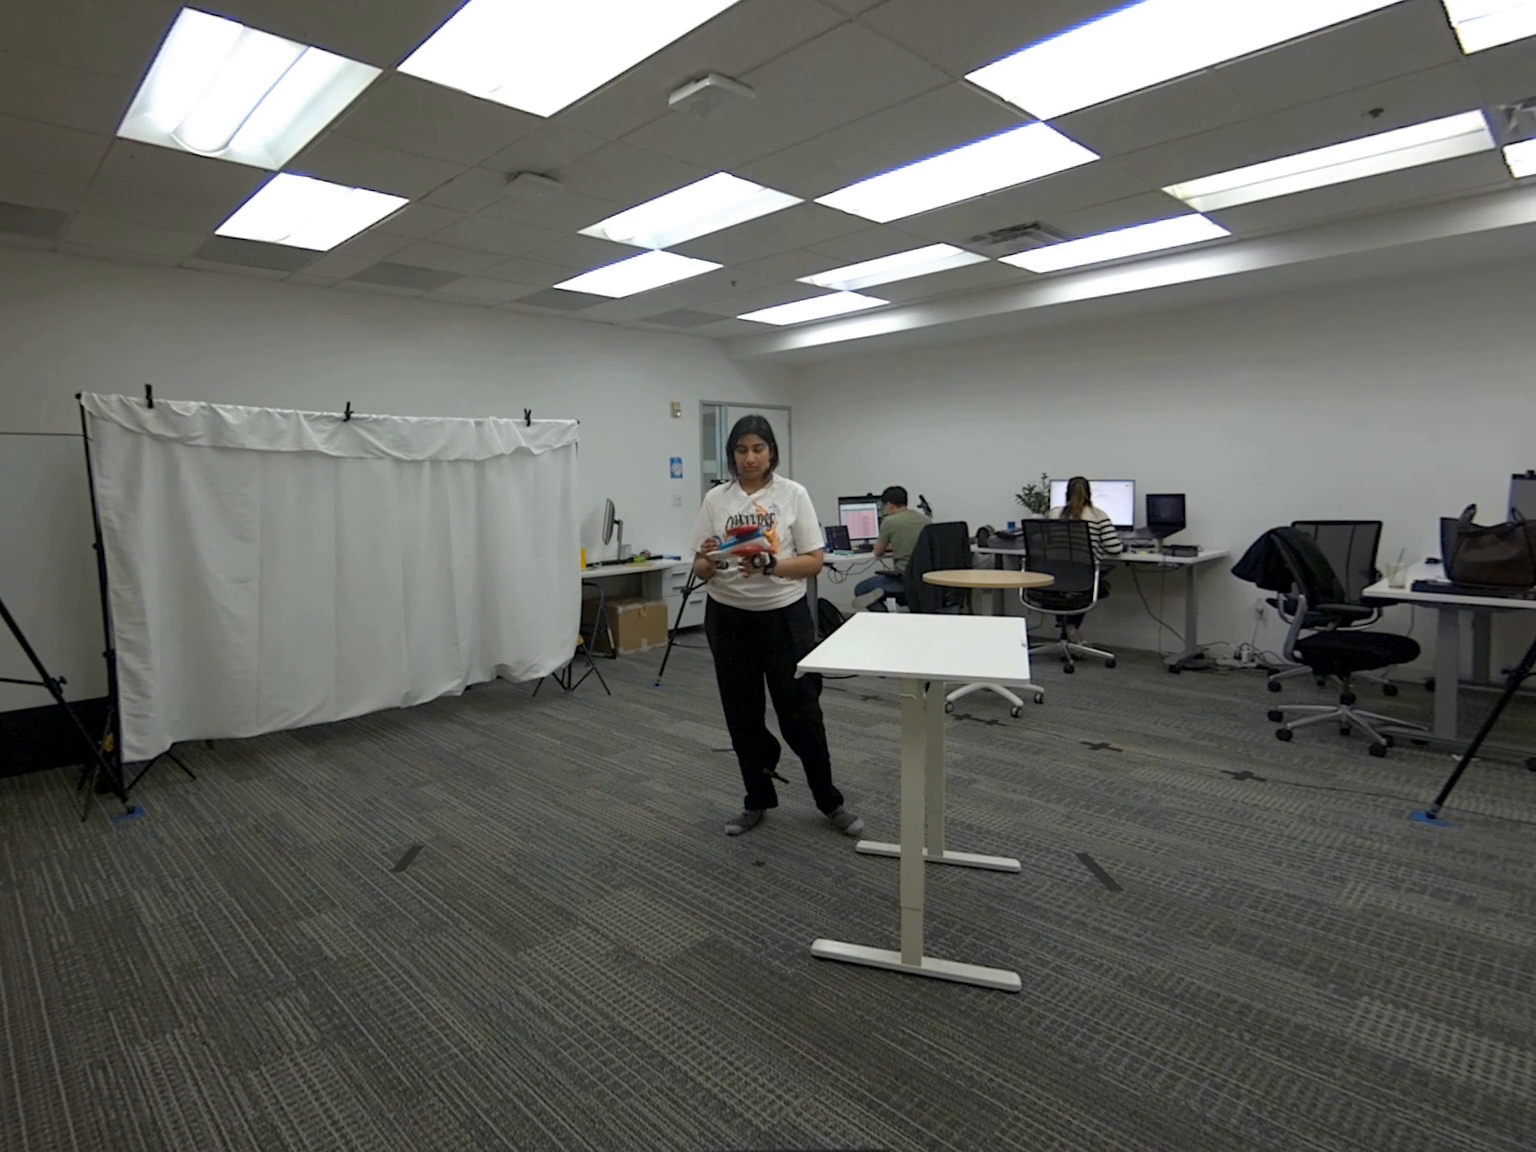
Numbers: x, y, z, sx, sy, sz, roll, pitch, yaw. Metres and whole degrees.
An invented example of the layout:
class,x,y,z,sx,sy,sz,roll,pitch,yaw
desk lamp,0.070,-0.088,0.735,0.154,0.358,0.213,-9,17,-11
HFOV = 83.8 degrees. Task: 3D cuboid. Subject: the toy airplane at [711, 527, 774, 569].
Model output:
class,x,y,z,sx,sy,sz,roll,pitch,yaw
toy airplane,-0.074,-0.100,3.081,0.259,0.157,0.251,0,-1,-1
